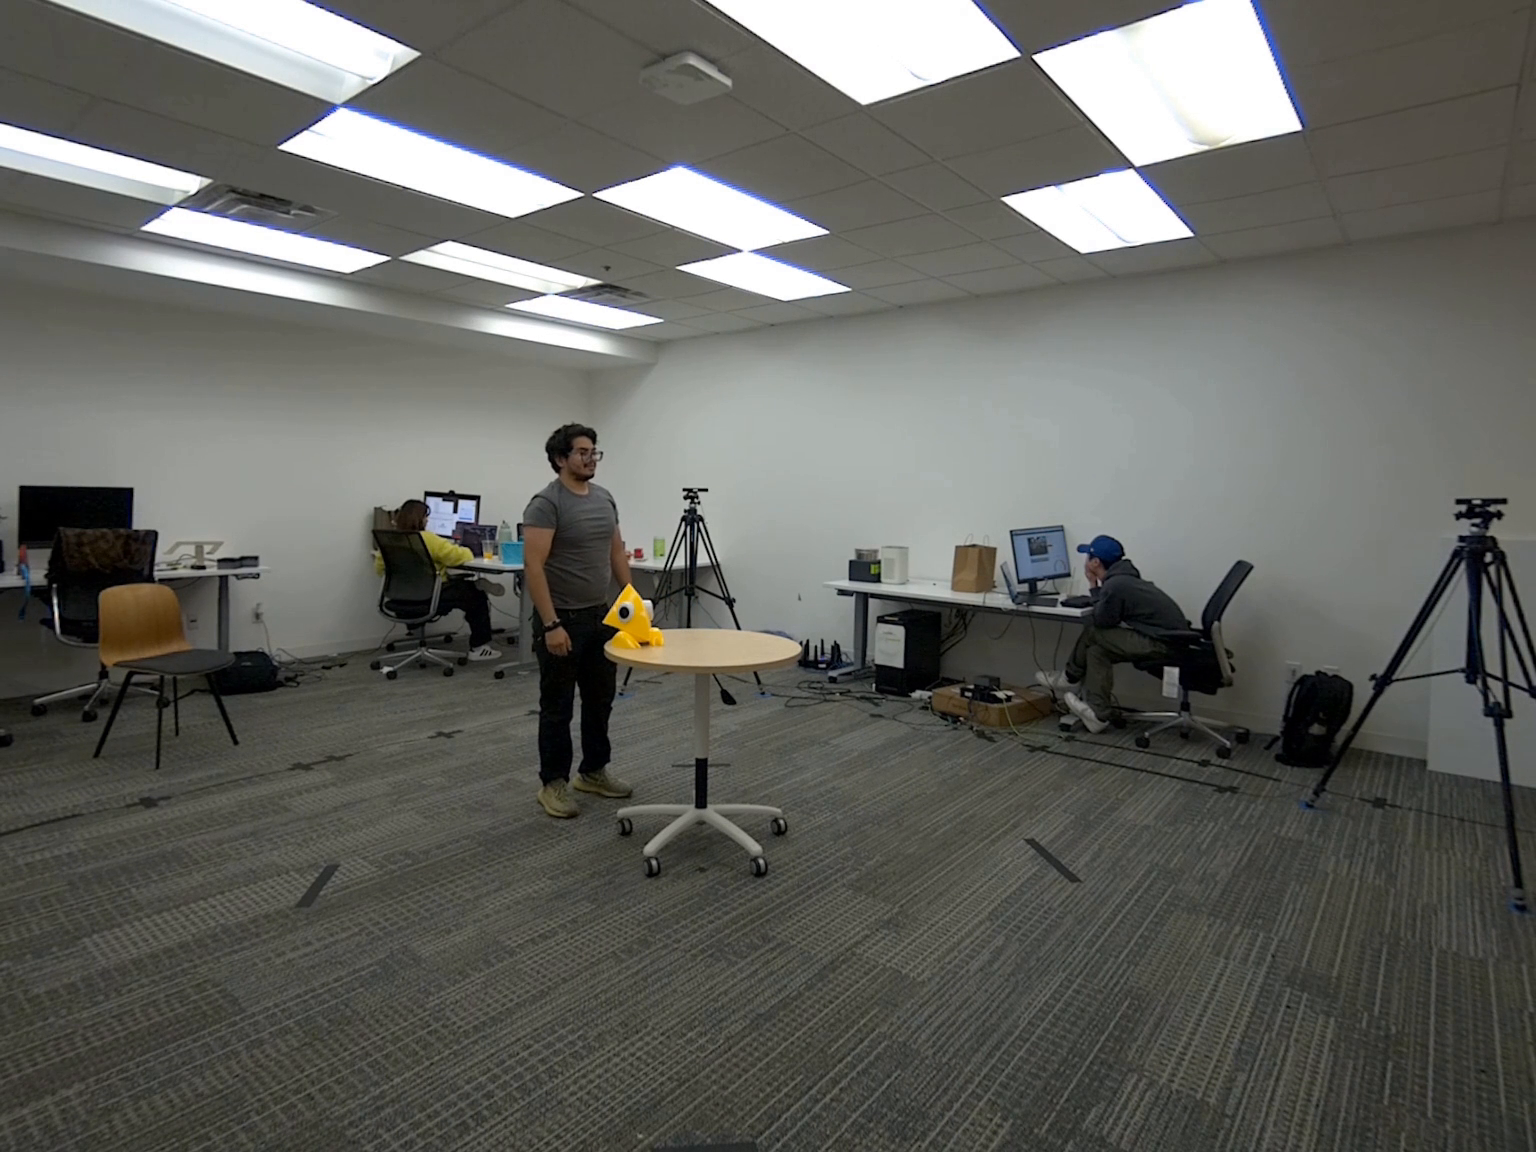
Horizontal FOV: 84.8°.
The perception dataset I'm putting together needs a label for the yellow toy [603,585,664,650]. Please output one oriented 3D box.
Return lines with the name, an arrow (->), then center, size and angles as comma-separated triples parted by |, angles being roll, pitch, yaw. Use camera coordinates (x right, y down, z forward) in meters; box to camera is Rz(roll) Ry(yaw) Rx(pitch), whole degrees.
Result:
yellow toy -> -0.526, 0.149, 3.331 | 0.199, 0.230, 0.199 | -3, 6, -38
